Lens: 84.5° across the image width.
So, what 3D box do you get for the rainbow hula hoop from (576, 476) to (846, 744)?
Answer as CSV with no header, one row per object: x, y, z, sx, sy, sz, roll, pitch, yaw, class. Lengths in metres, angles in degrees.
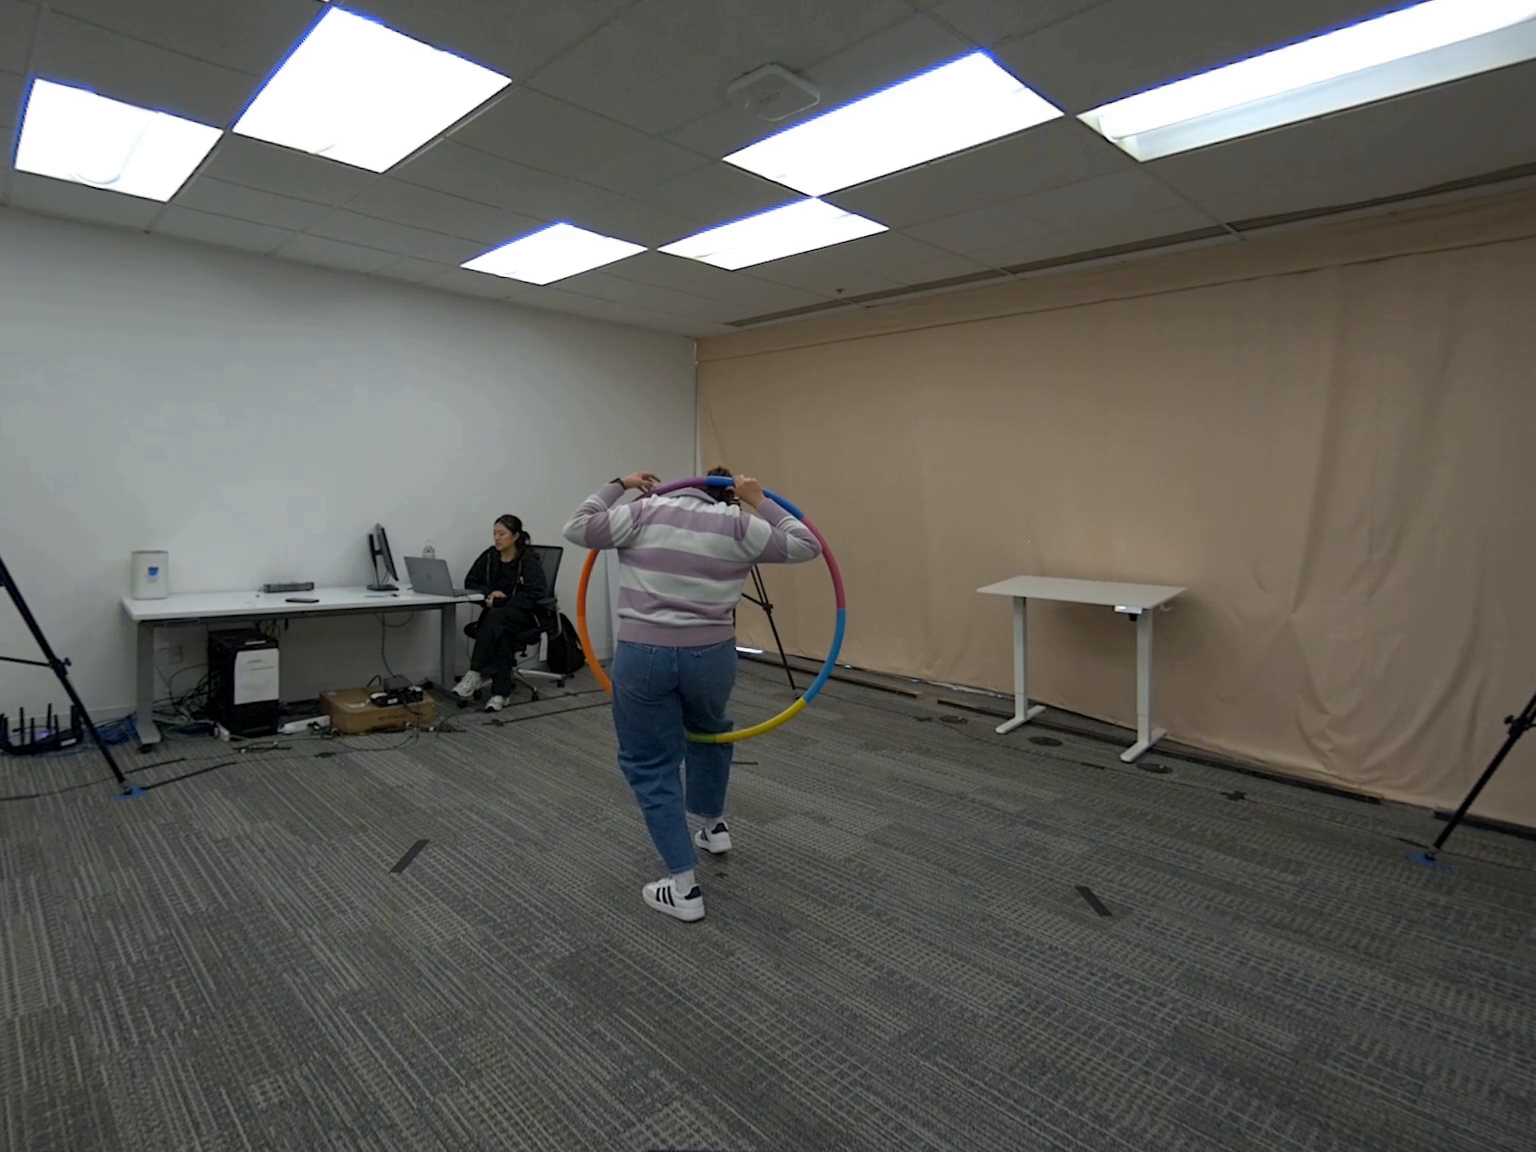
-0.219,0.119,3.070,0.989,0.981,0.051,2,5,5,rainbow hula hoop
